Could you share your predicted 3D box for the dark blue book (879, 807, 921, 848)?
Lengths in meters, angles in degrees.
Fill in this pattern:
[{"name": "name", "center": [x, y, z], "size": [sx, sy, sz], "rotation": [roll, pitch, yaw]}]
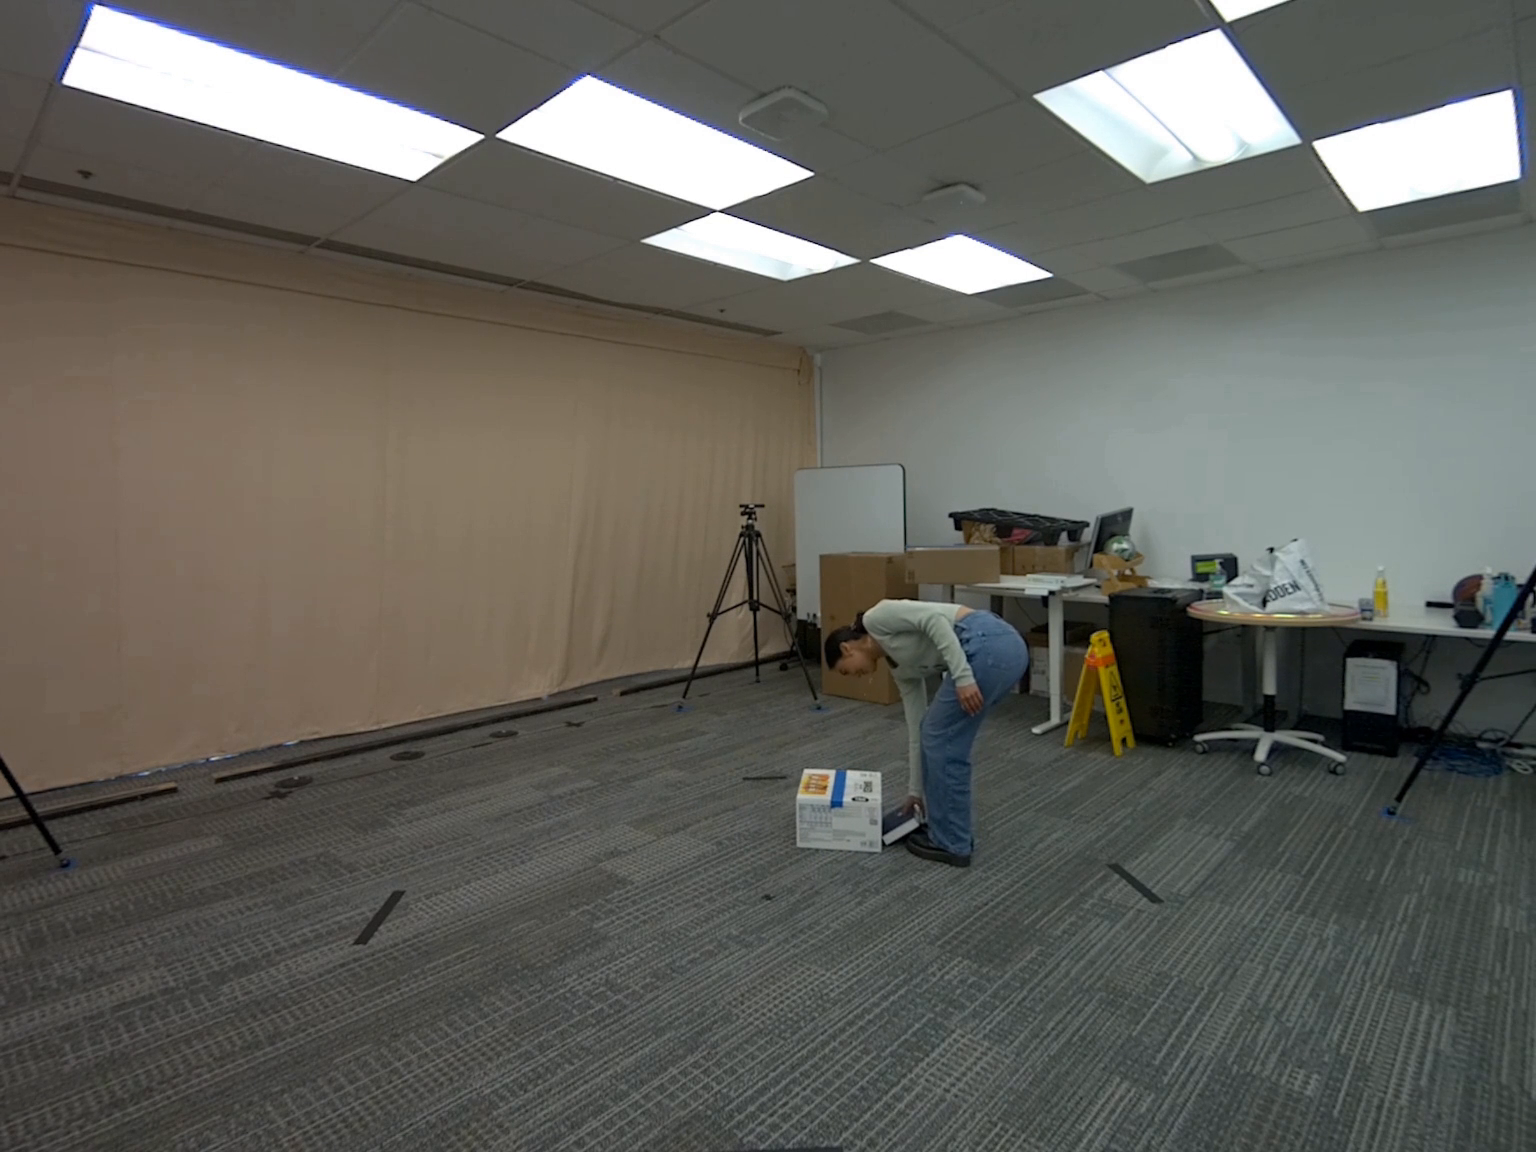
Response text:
[{"name": "dark blue book", "center": [0.545, 1.026, 3.501], "size": [0.164, 0.045, 0.242], "rotation": [-28, -4, 6]}]
